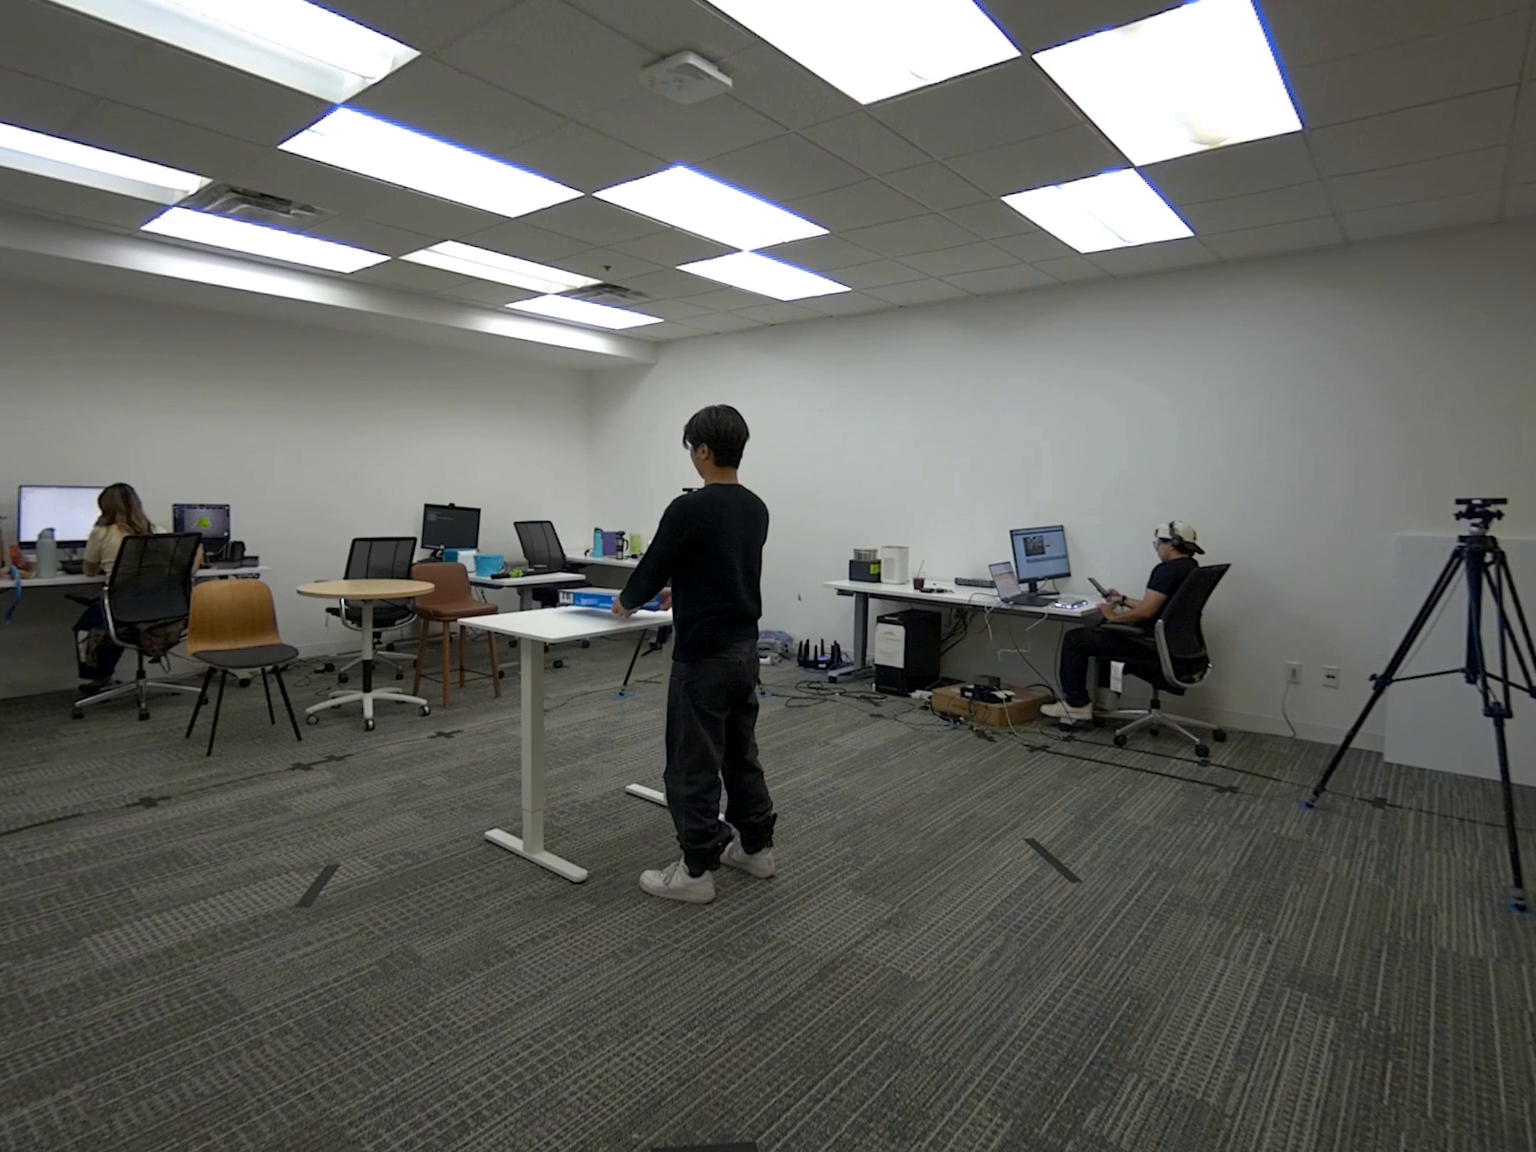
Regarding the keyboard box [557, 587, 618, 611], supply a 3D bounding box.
[{"bbox_3d":[-0.656,0.089,3.379,0.170,0.059,0.451,-4,6,-45],"label":"keyboard box"}]
